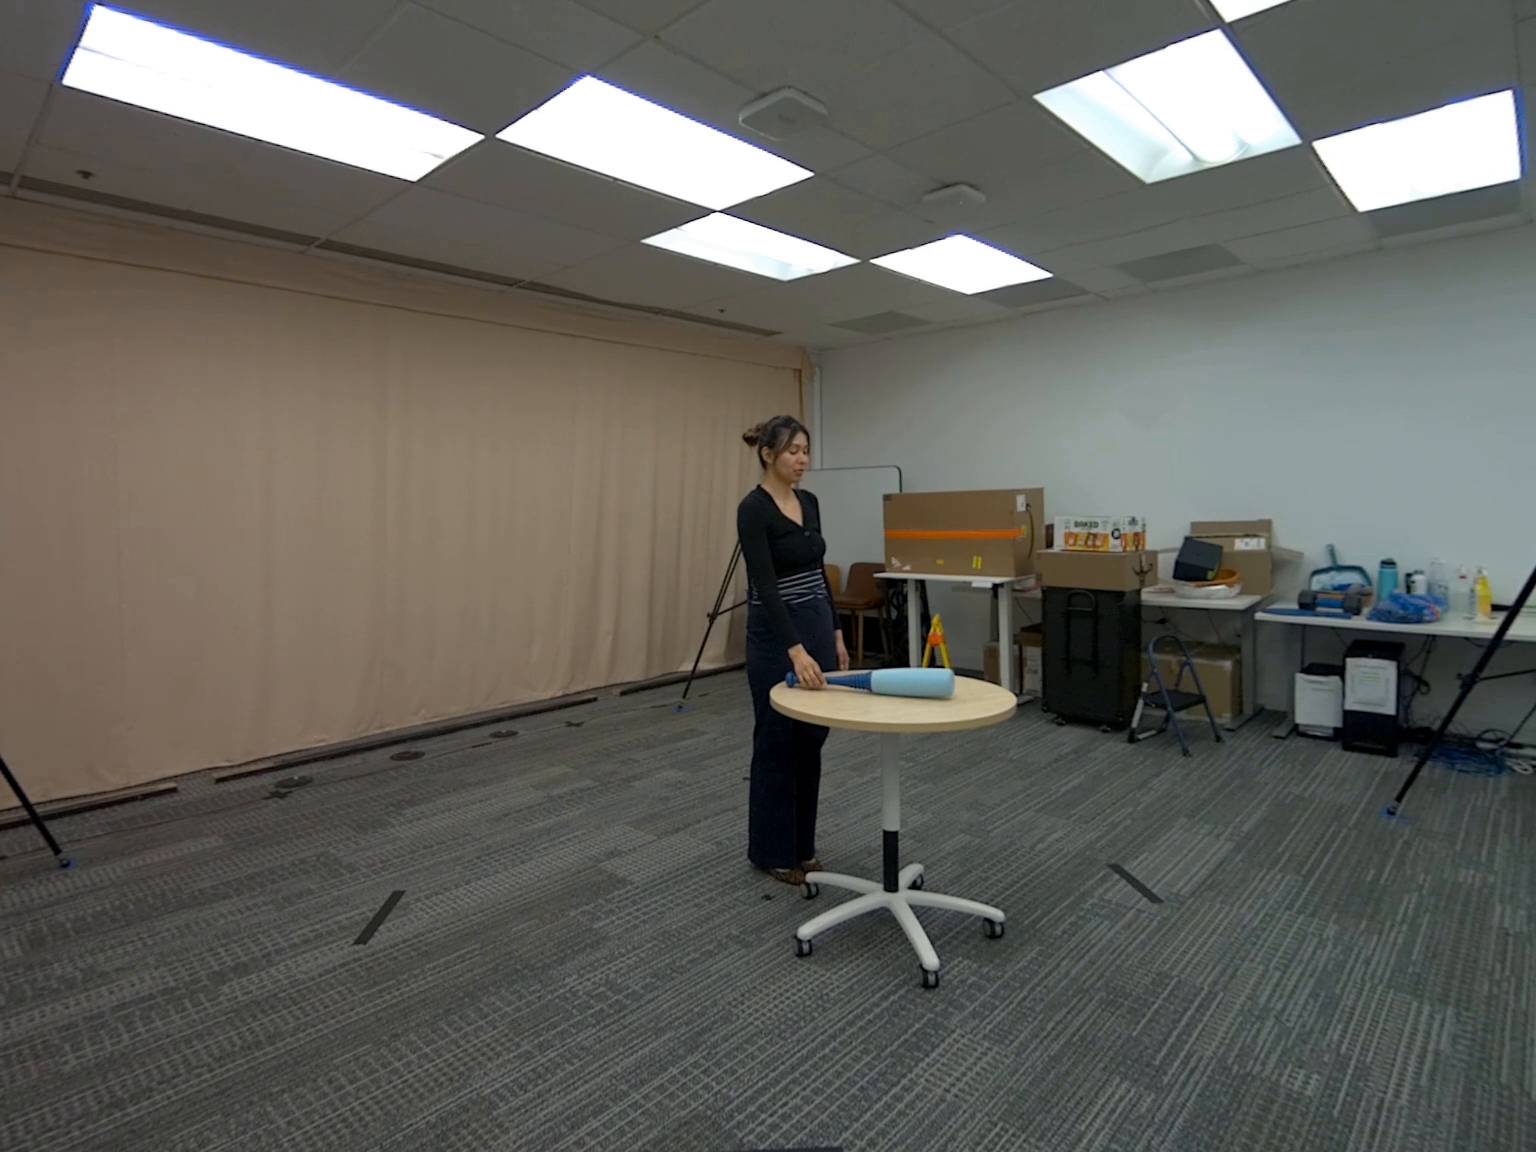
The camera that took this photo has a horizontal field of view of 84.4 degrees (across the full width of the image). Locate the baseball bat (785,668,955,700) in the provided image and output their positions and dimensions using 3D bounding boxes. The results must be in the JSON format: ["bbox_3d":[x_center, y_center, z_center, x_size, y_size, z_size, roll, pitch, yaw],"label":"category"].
[{"bbox_3d":[0.322,0.339,2.694,0.555,0.089,0.087,-2,3,23],"label":"baseball bat"}]
